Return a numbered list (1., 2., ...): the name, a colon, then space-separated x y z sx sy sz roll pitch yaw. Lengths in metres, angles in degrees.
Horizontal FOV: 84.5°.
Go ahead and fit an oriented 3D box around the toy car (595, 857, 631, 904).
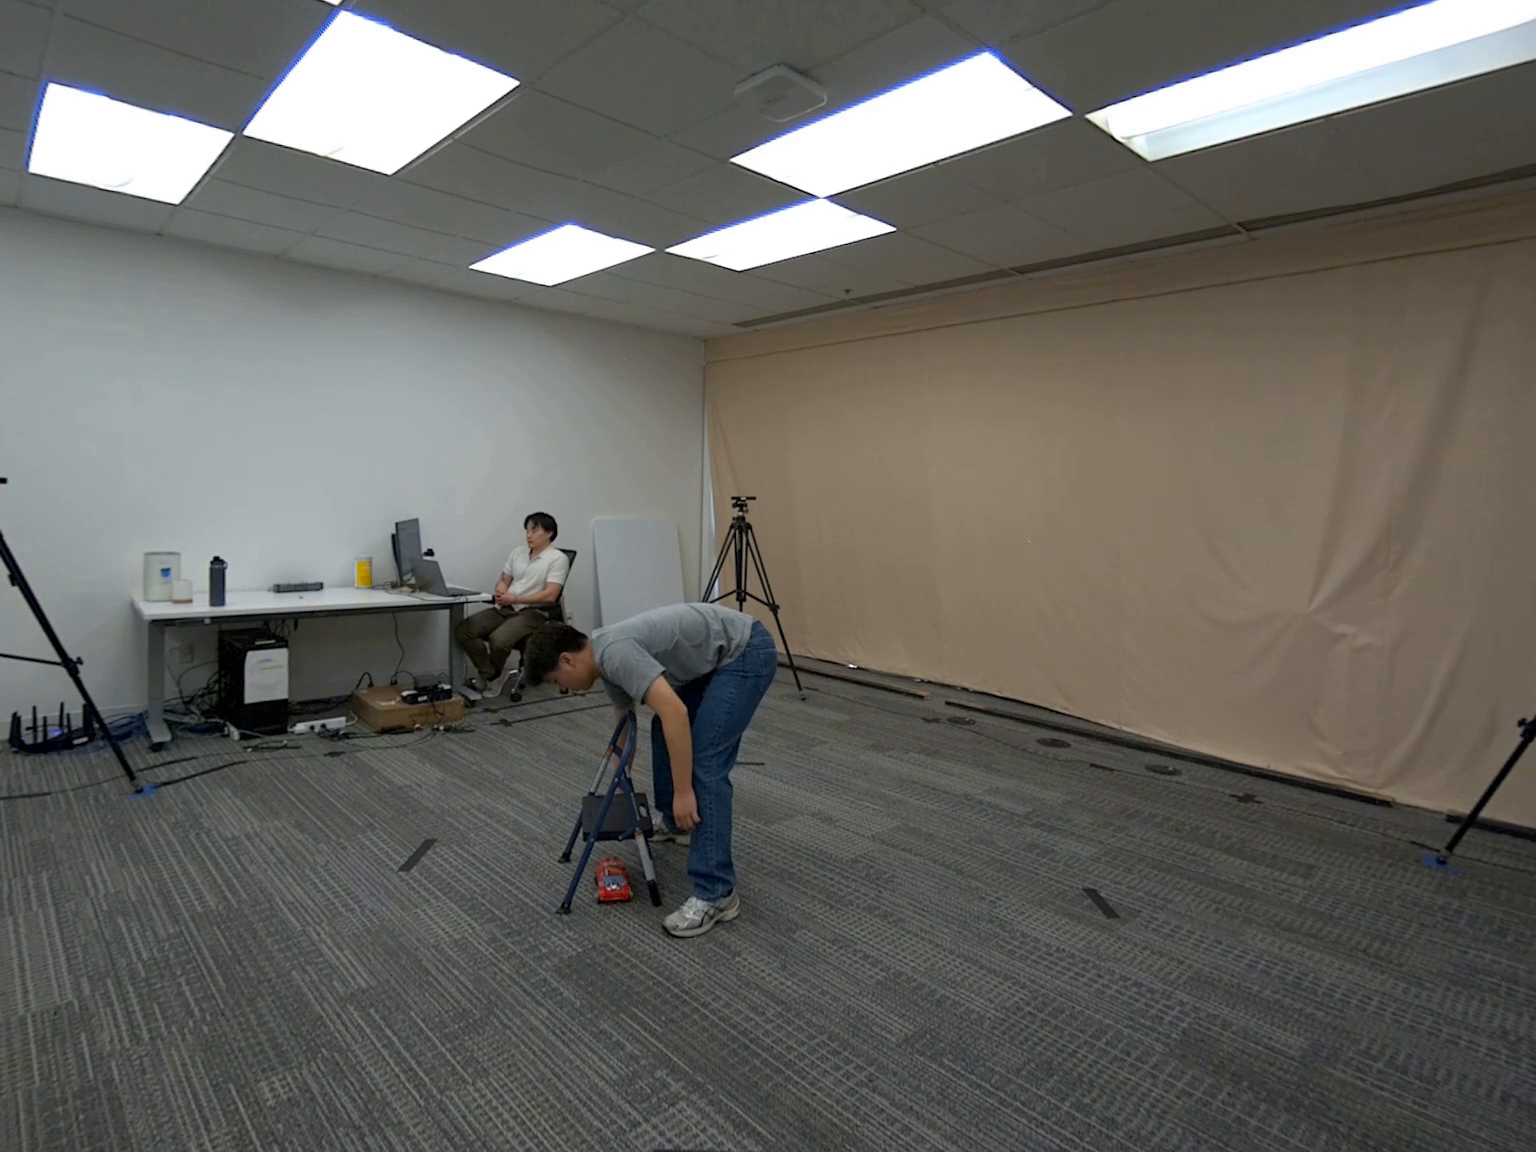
1. toy car: -0.565 1.078 2.989 0.129 0.082 0.259 0 16 -11
